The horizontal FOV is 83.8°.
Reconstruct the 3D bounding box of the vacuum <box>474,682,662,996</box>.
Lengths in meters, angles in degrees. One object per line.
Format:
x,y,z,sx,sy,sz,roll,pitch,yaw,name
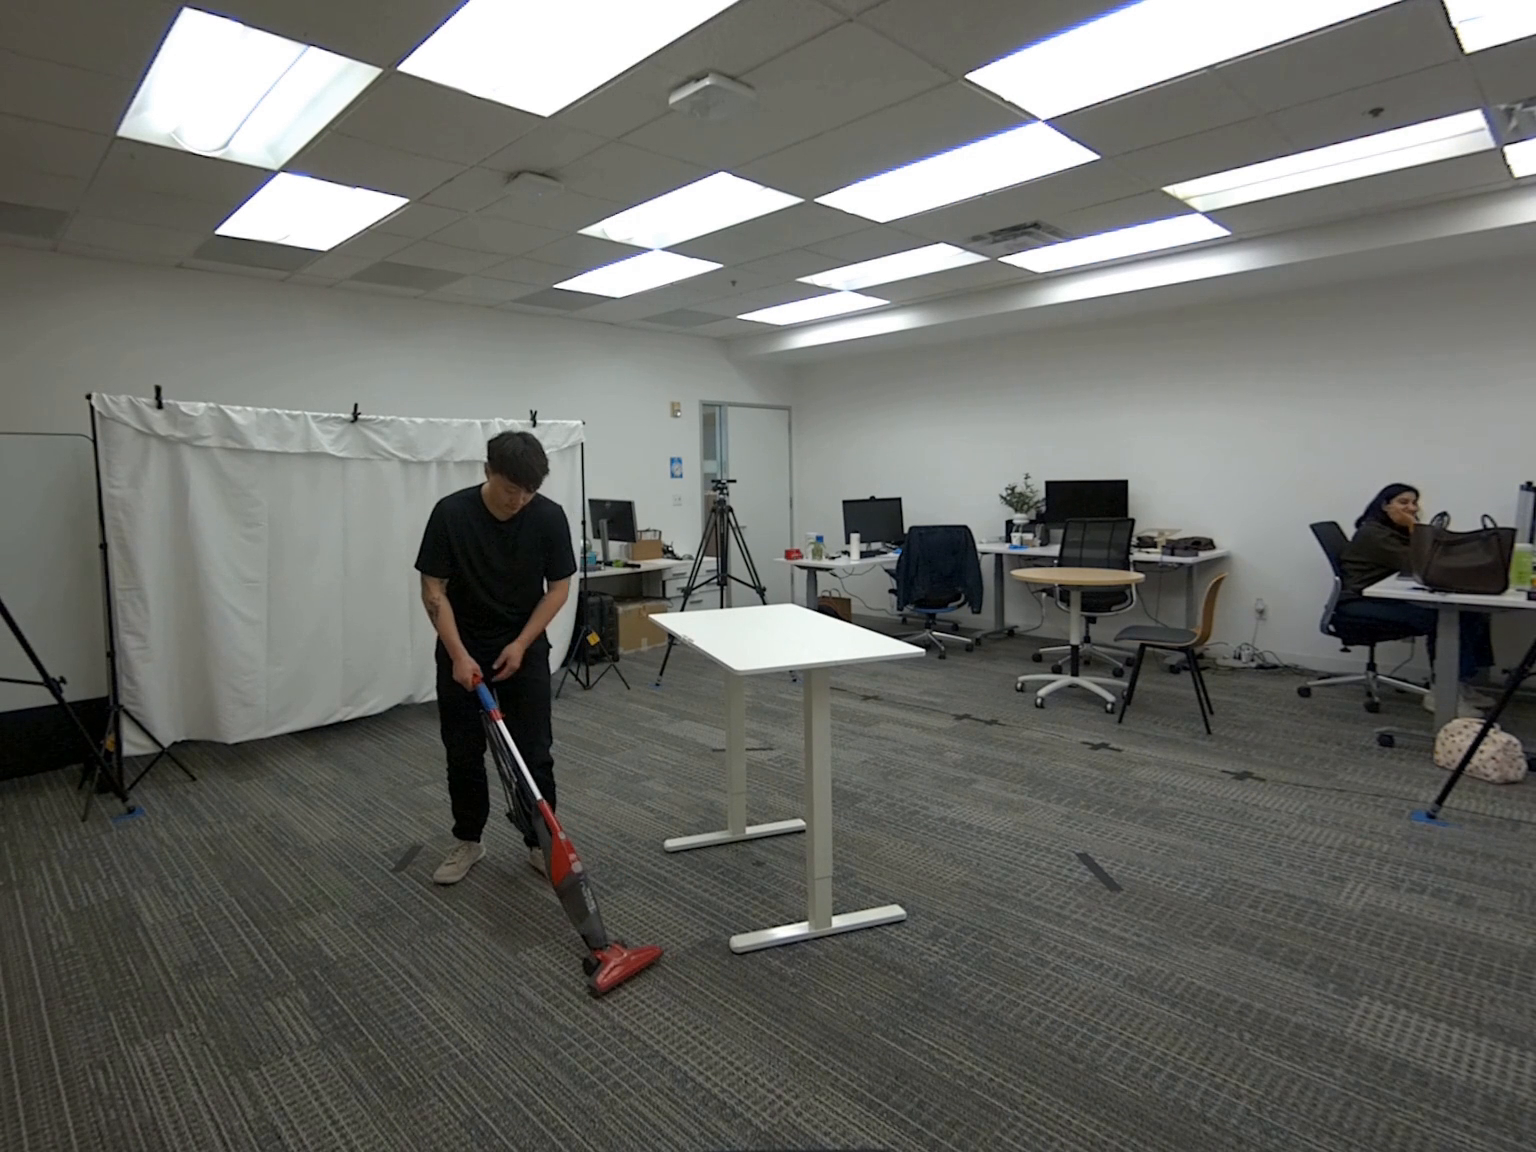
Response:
-0.703,0.741,2.649,0.246,0.143,1.081,-6,50,-51,vacuum
